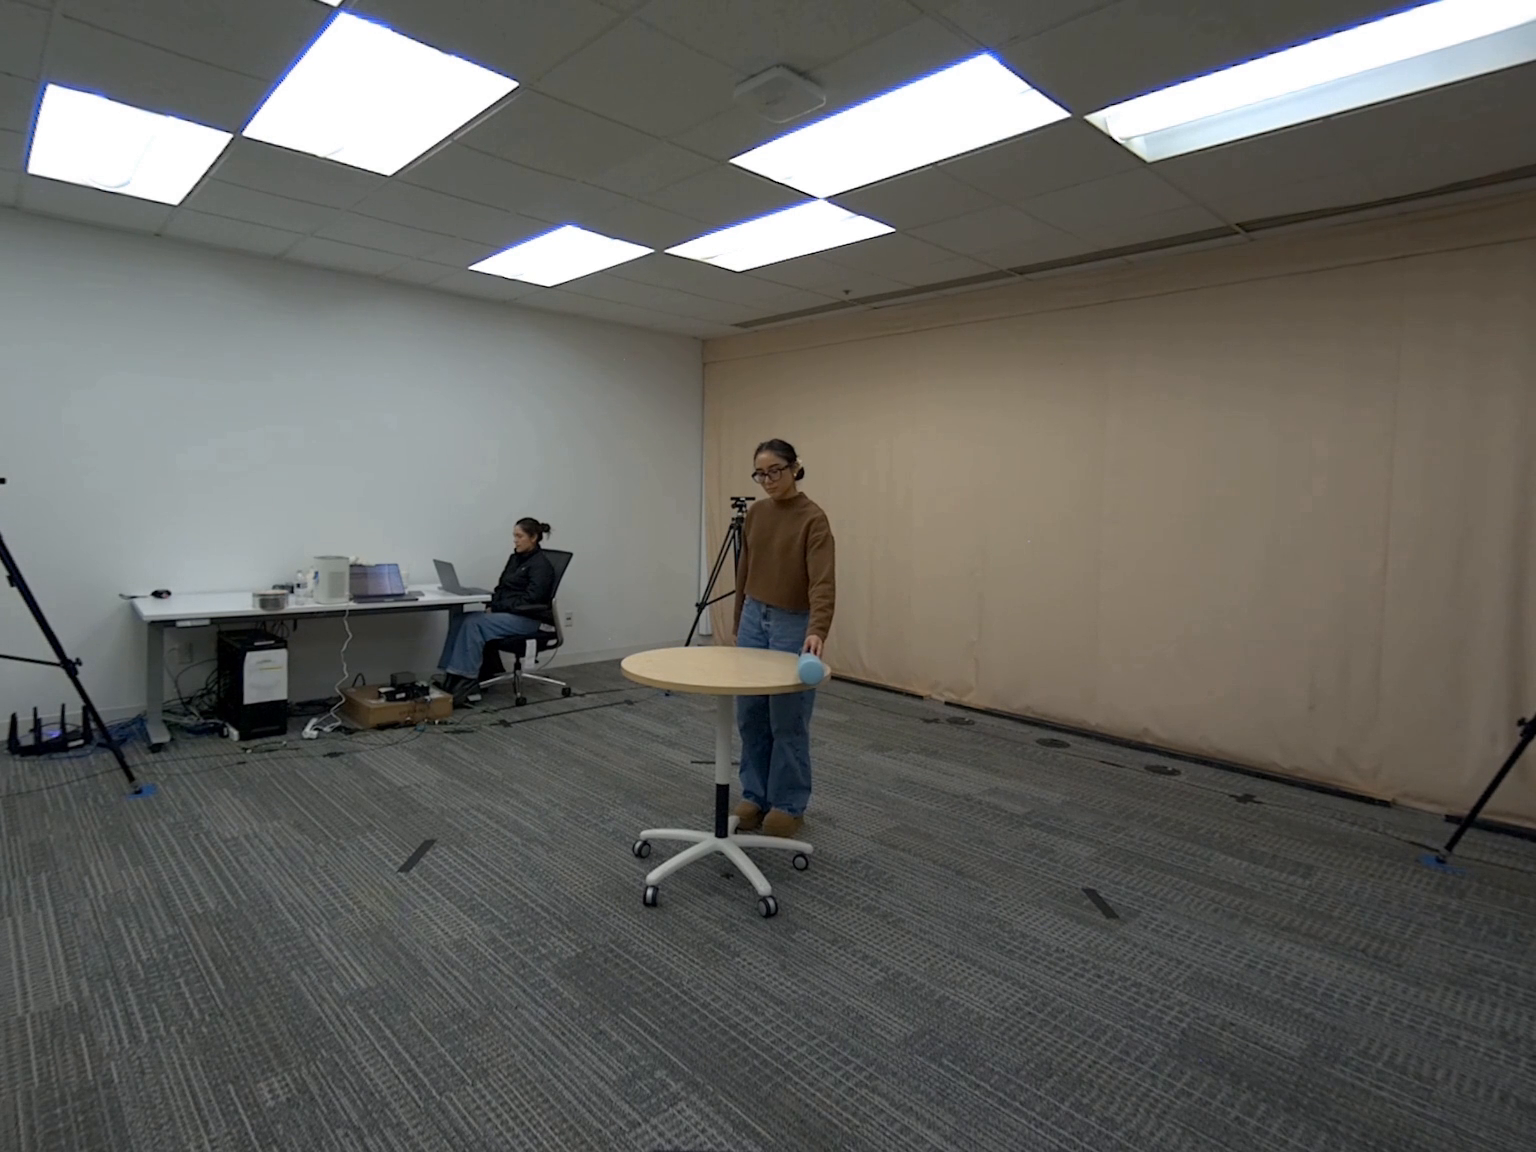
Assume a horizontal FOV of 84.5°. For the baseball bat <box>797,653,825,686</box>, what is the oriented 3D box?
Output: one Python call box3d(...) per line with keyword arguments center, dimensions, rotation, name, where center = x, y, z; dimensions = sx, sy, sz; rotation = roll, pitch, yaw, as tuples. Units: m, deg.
box3d(center=(0.139, 0.313, 2.976), dimensions=(0.089, 0.089, 0.541), rotation=(2, 1, 3), name="baseball bat")
